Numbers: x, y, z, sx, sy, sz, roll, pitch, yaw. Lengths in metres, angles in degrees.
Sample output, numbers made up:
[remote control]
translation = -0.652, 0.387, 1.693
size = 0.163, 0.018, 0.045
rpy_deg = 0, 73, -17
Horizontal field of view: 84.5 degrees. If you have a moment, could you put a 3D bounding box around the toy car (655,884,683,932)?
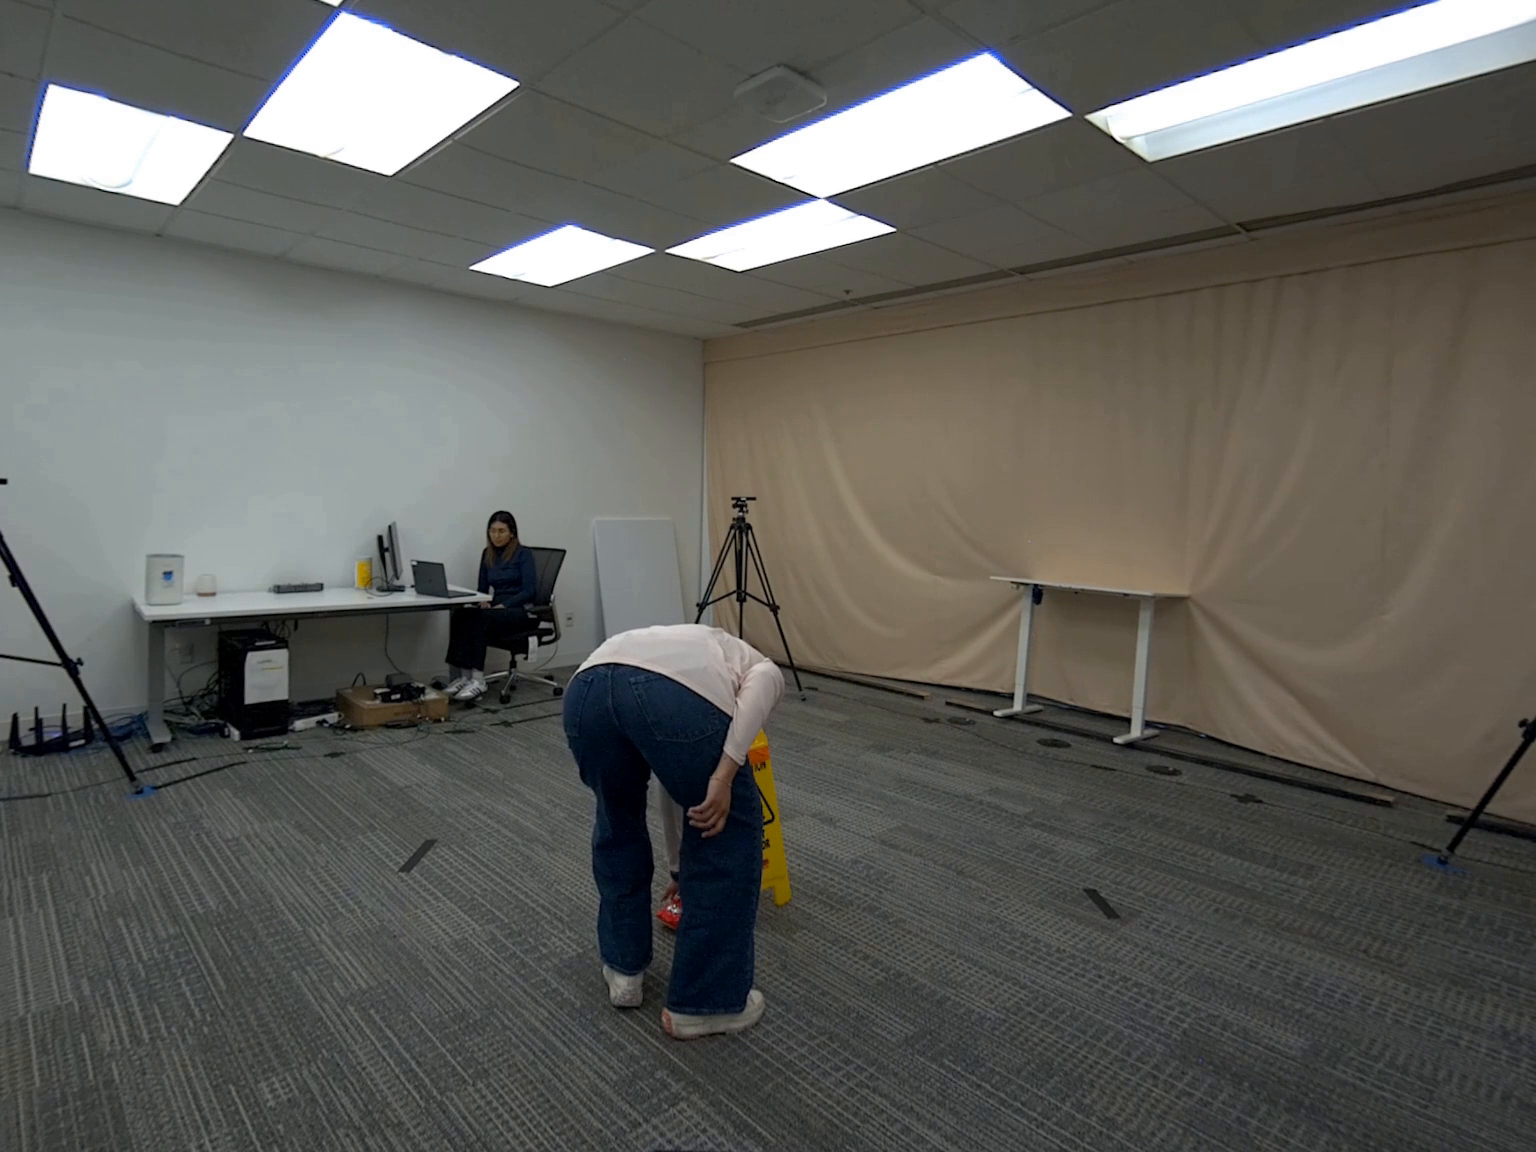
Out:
[toy car]
translation = -0.263, 1.106, 2.759
size = 0.134, 0.083, 0.247
rpy_deg = 6, -7, 44
